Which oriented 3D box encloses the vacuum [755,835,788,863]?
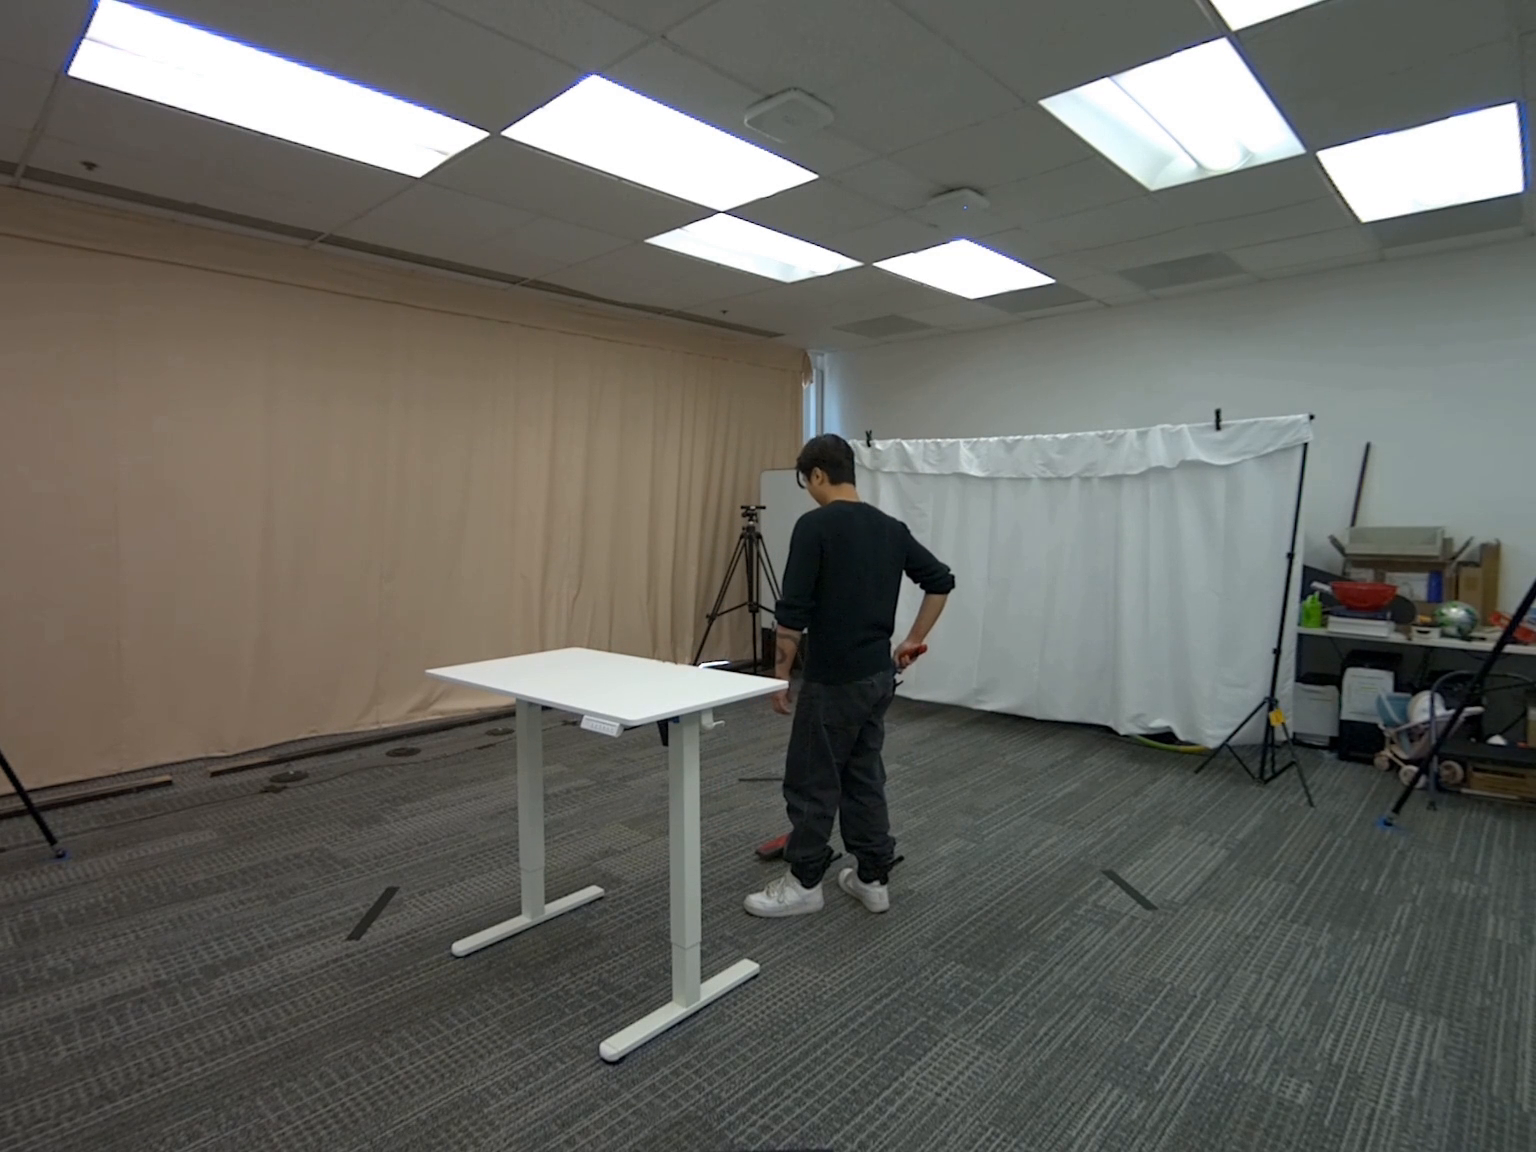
[{"bbox_3d":[0.311,0.683,3.176,0.148,1.049,0.245,43,24,28],"label":"vacuum"}]
